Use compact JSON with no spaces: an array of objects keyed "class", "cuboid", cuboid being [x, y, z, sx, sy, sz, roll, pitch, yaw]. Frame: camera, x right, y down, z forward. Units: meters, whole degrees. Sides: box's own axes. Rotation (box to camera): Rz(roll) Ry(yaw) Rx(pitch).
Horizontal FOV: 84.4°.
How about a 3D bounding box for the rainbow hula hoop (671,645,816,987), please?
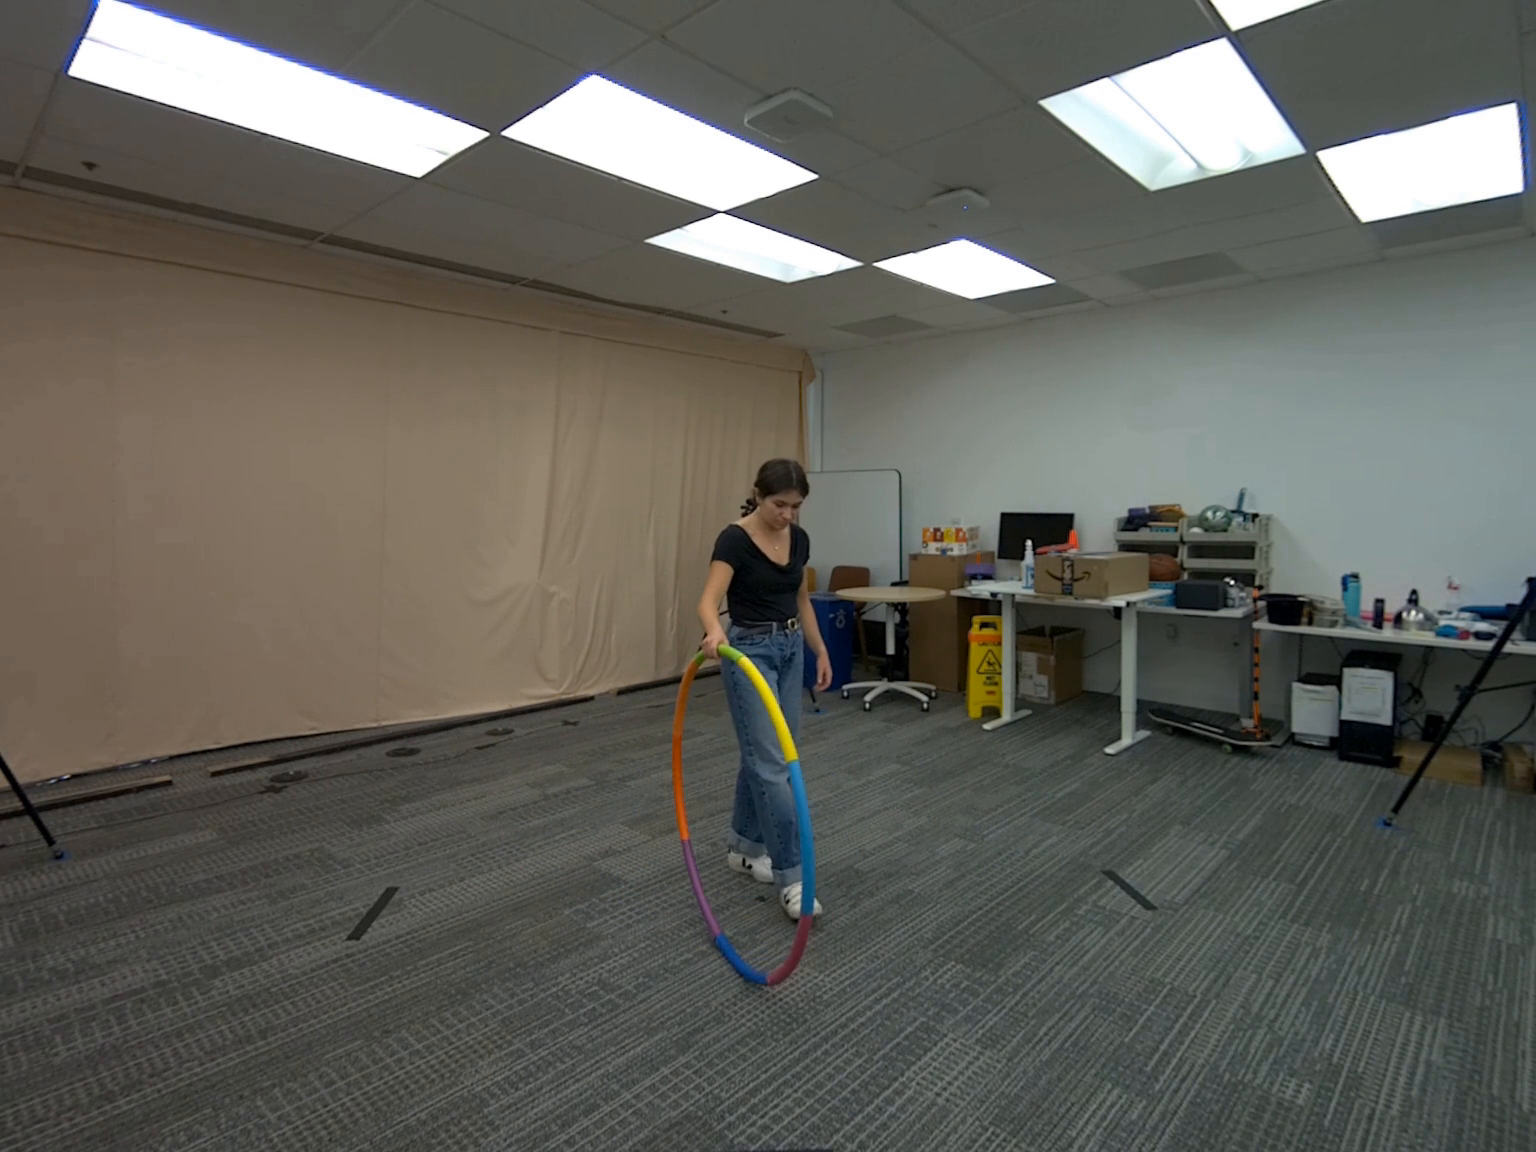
[{"class":"rainbow hula hoop","cuboid":[-0.102,0.696,2.537,0.035,0.976,1.004,-1,4,-25]}]
